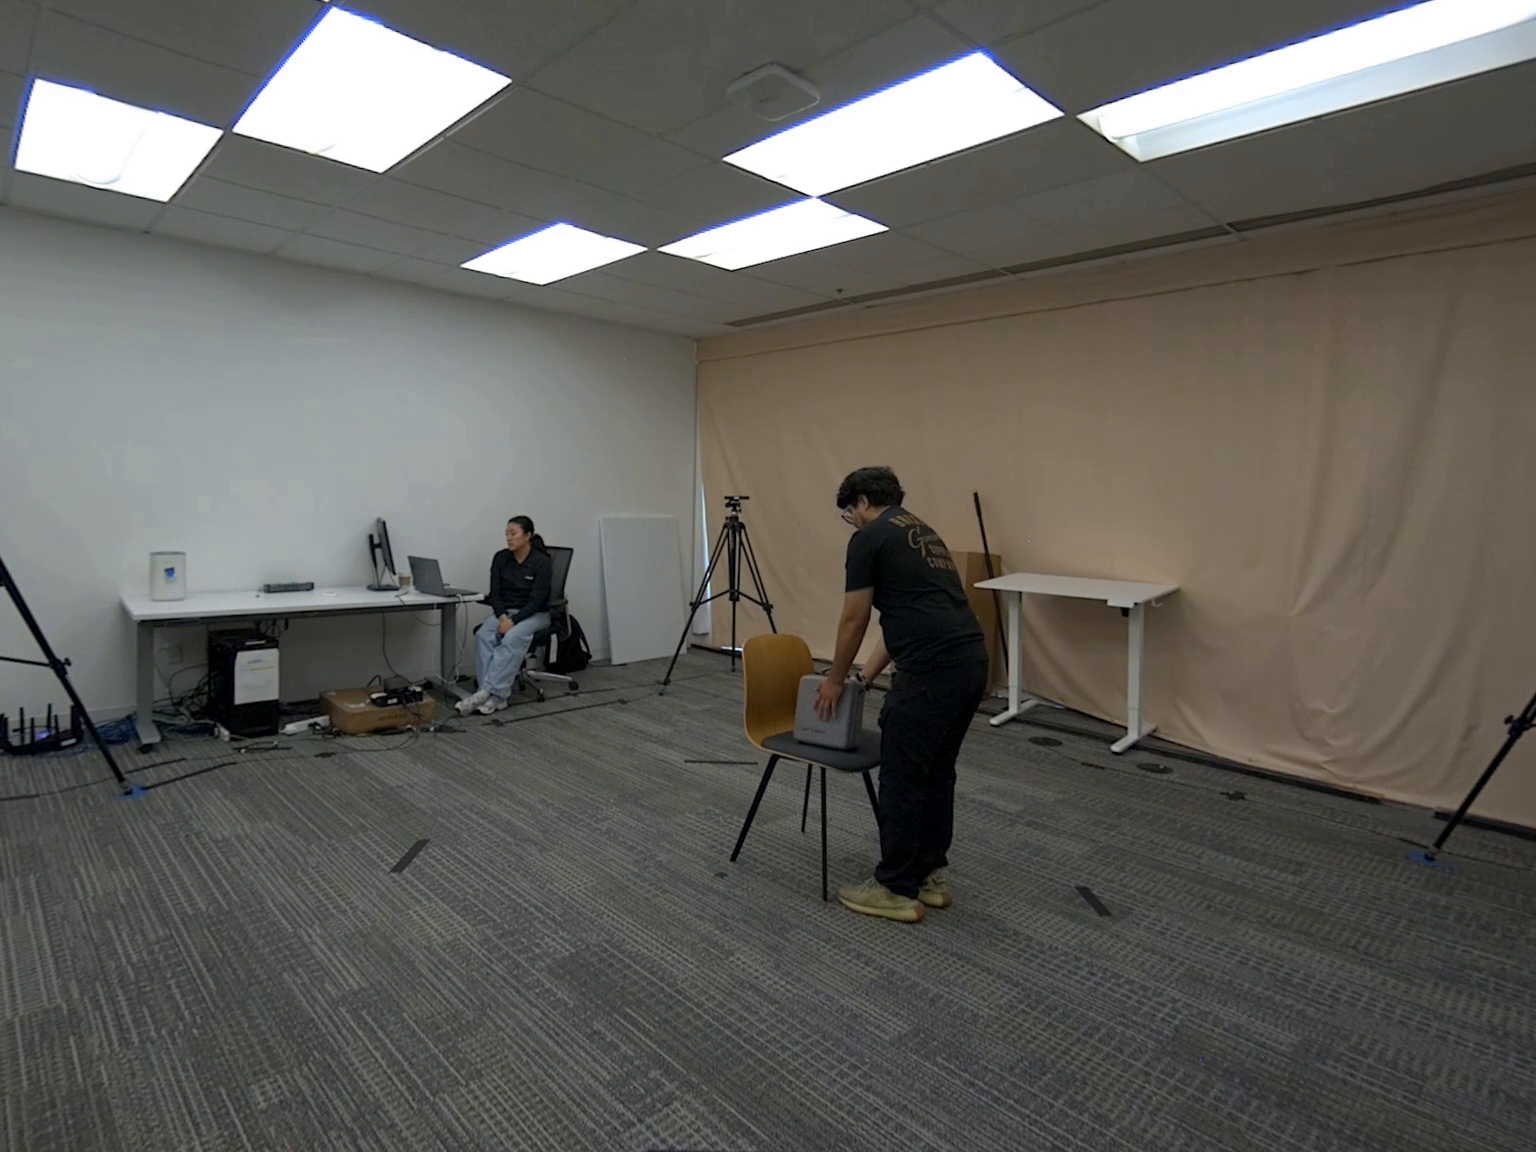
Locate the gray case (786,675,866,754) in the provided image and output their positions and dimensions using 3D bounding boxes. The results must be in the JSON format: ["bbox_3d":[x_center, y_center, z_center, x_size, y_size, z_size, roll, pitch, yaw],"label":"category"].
[{"bbox_3d":[0.213,0.509,3.143,0.262,0.263,0.101,-3,-15,35],"label":"gray case"}]
